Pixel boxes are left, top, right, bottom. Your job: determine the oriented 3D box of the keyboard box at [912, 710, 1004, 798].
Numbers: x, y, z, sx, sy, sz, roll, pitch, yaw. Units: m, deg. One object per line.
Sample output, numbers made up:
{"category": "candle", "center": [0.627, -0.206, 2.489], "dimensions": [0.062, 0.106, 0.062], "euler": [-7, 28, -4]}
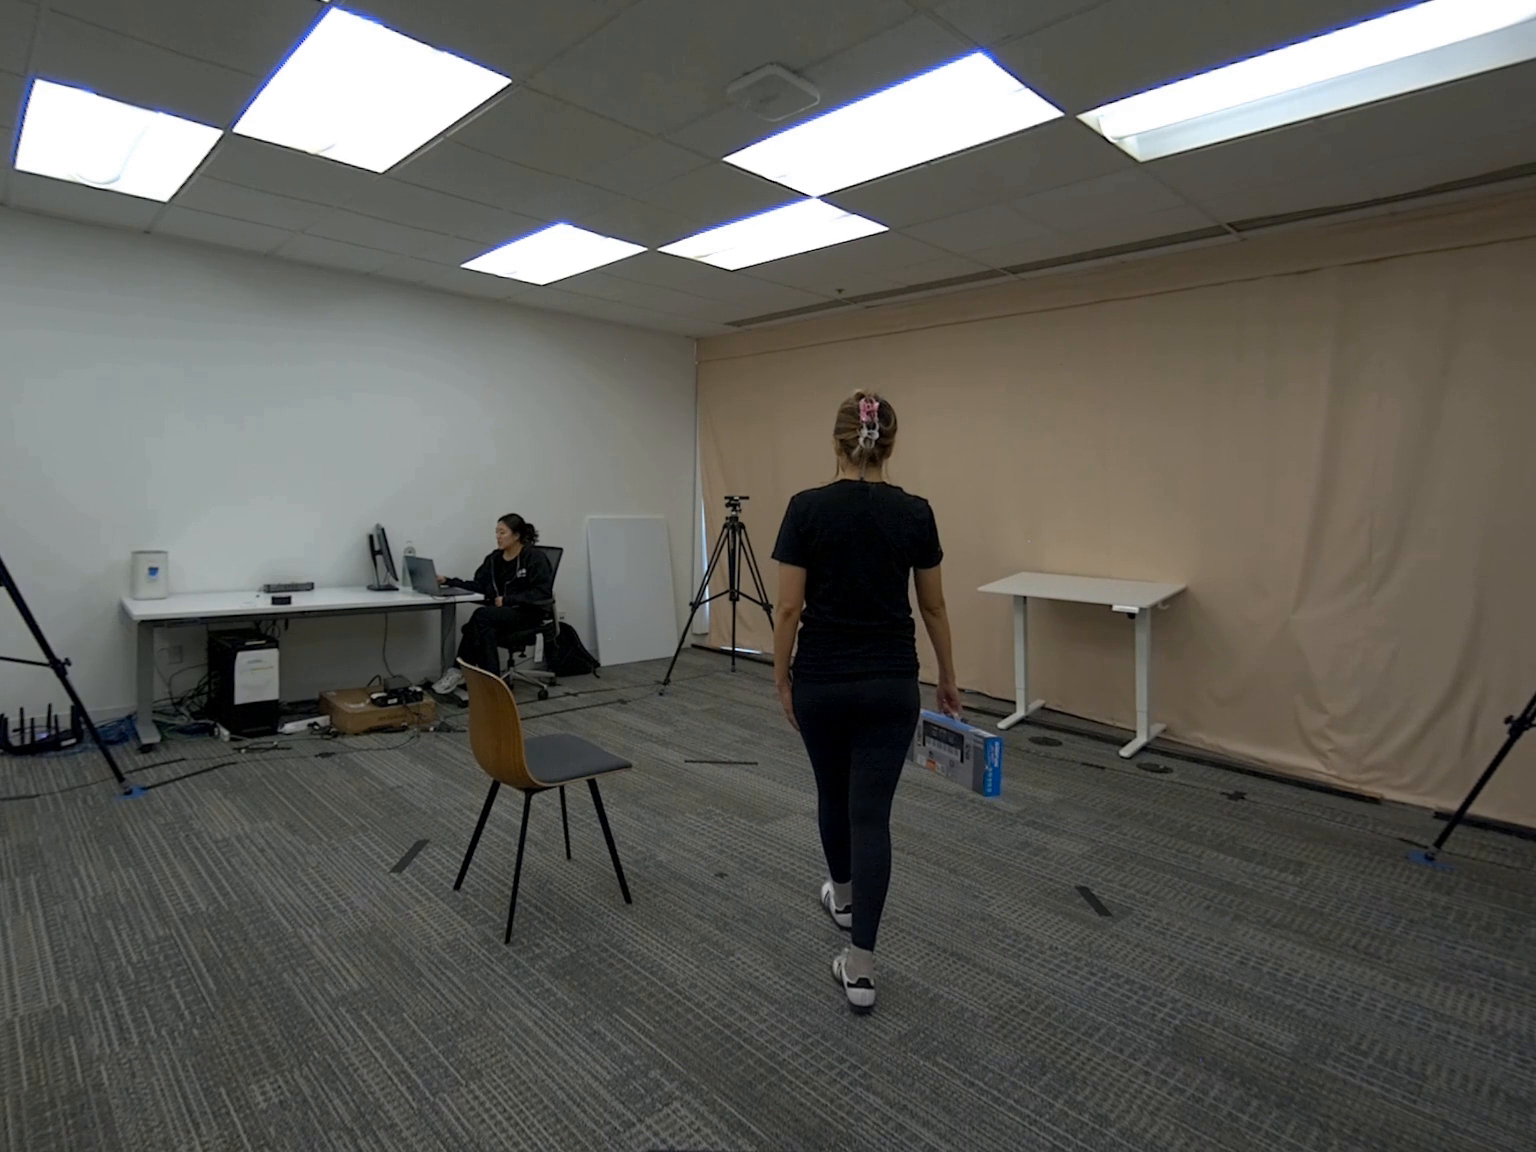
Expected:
{"category": "keyboard box", "center": [0.568, 0.544, 2.647], "dimensions": [0.058, 0.176, 0.444], "euler": [1, 2, -20]}
